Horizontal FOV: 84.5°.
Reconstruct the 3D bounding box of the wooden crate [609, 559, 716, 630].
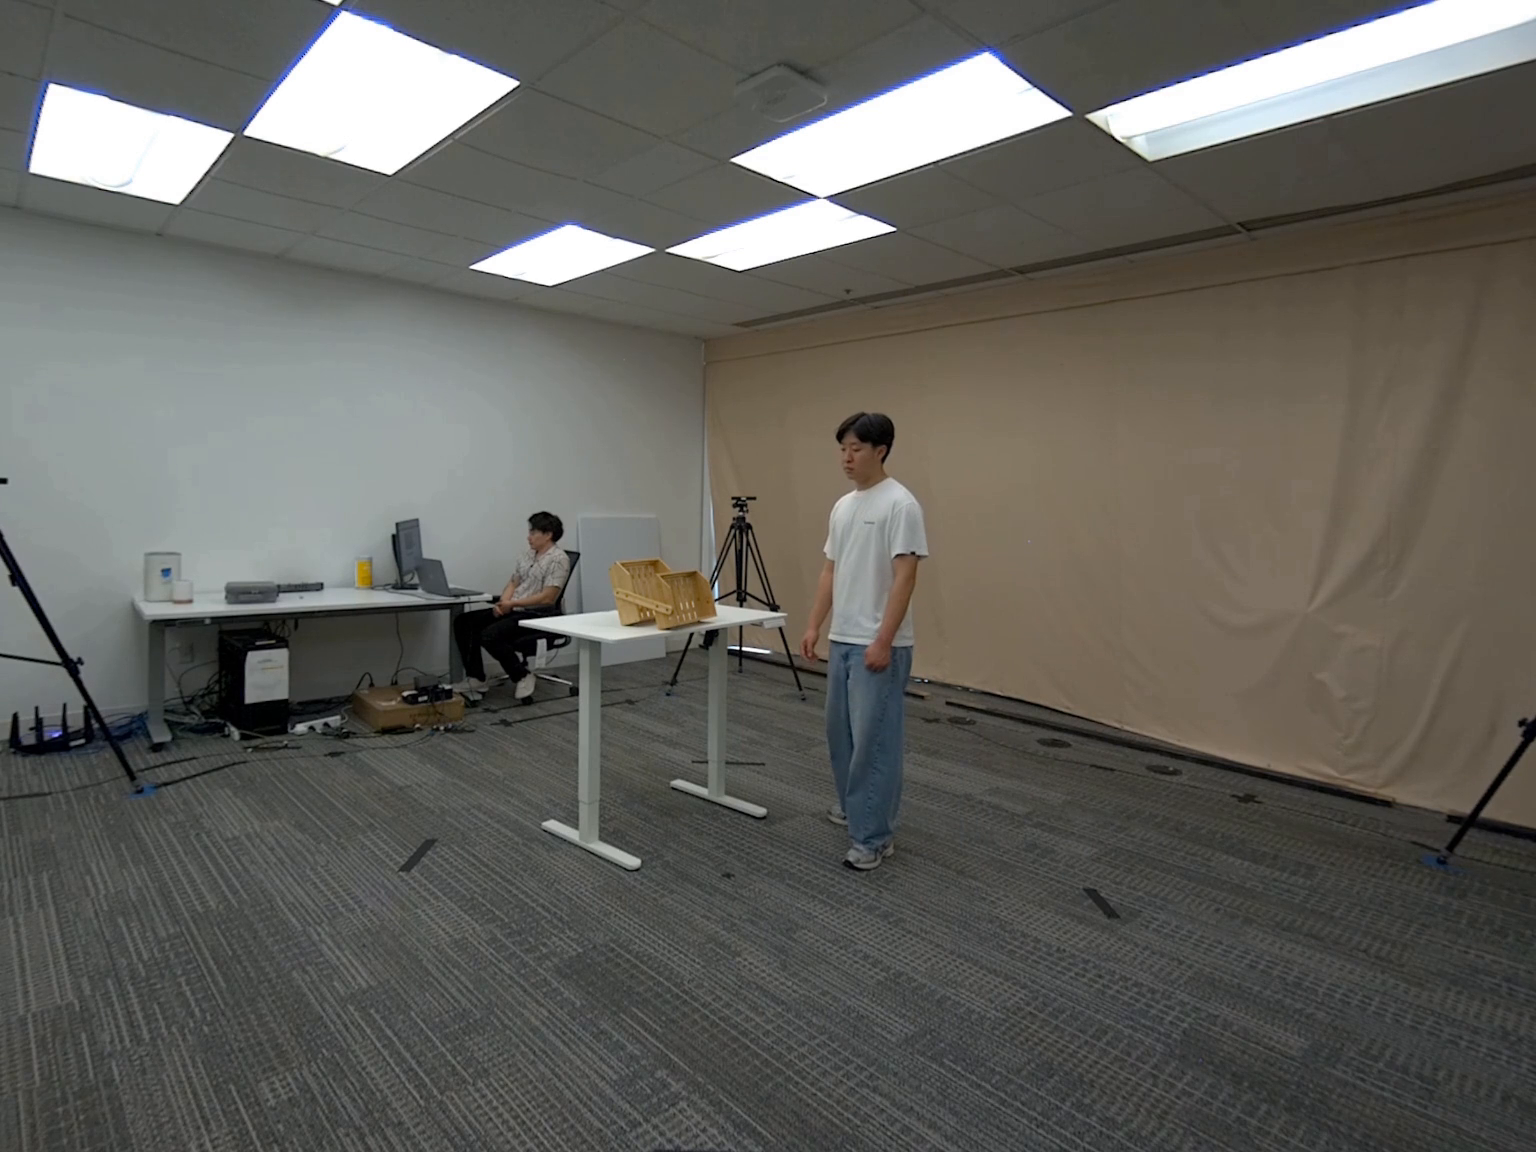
[{"bbox_3d":[-0.421,0.058,3.388,0.277,0.303,0.319,-16,-4,27],"label":"wooden crate"}]
